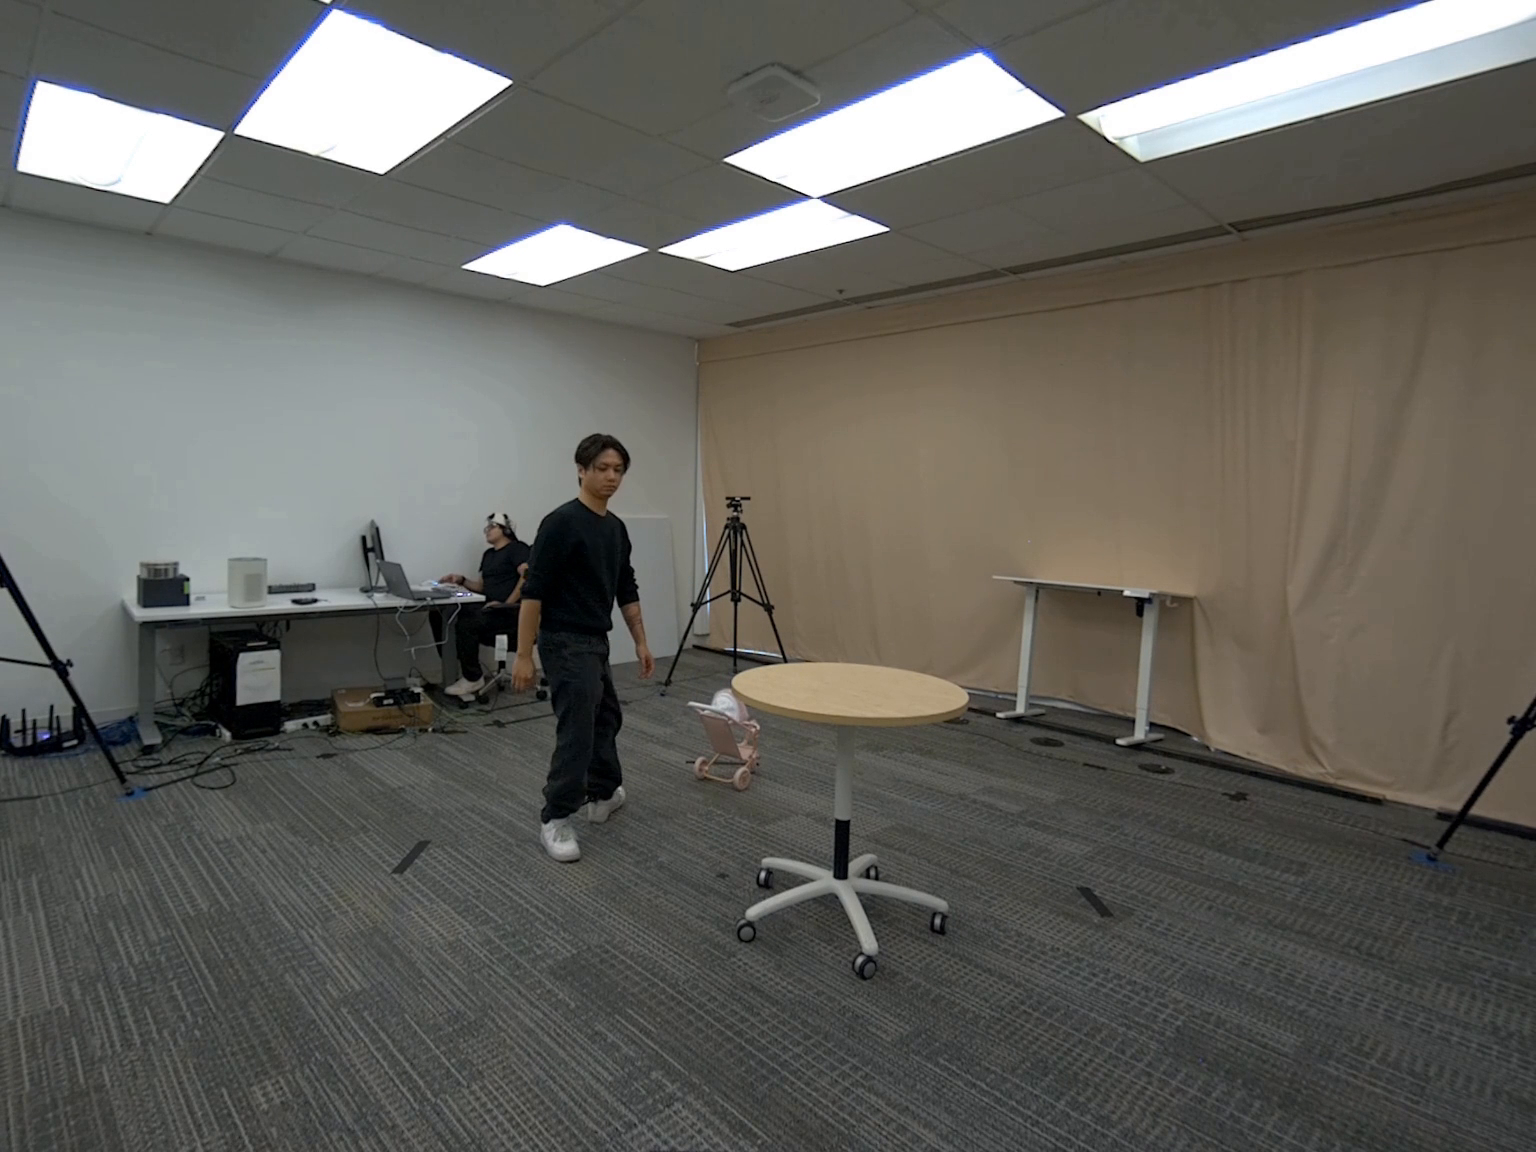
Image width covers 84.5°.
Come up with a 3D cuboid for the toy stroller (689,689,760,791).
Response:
[{"bbox_3d":[-0.198,0.791,4.159,0.288,0.528,0.337,5,21,39],"label":"toy stroller"}]
